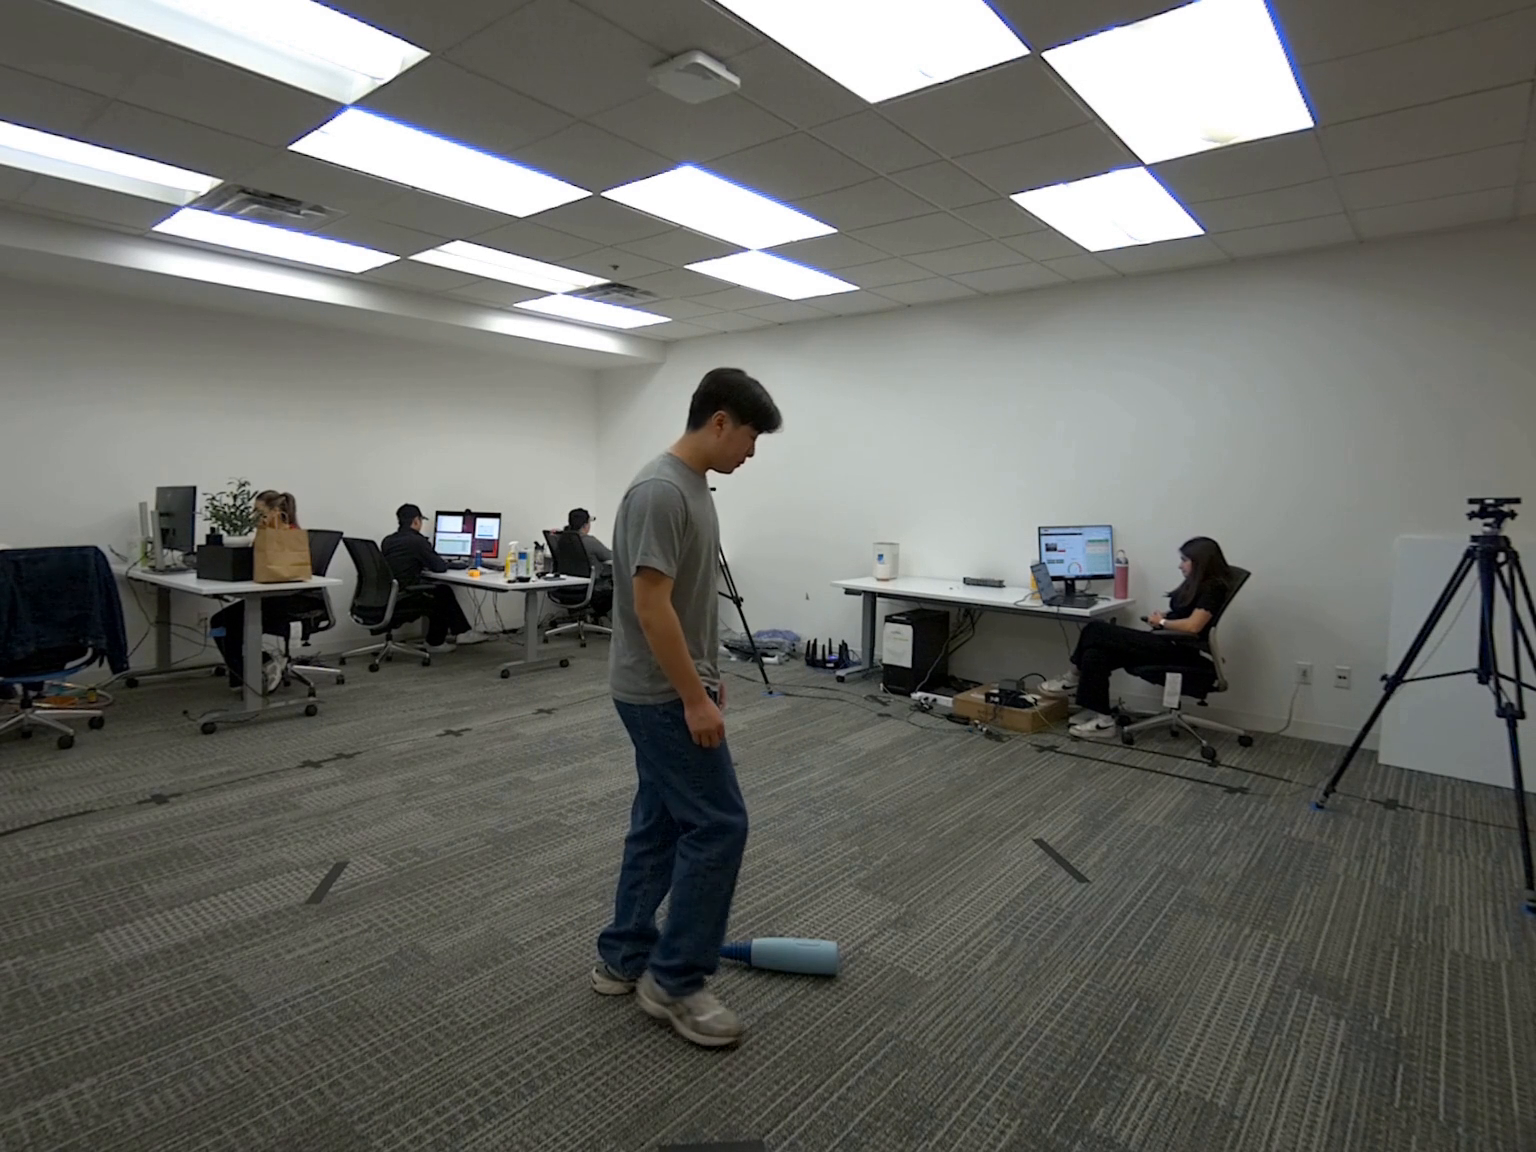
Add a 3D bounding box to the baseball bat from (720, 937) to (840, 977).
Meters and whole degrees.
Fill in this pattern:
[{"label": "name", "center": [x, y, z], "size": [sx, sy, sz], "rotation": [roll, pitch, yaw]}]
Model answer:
[{"label": "baseball bat", "center": [-0.070, 1.095, 2.475], "size": [0.548, 0.089, 0.088], "rotation": [-1, 4, 8]}]
